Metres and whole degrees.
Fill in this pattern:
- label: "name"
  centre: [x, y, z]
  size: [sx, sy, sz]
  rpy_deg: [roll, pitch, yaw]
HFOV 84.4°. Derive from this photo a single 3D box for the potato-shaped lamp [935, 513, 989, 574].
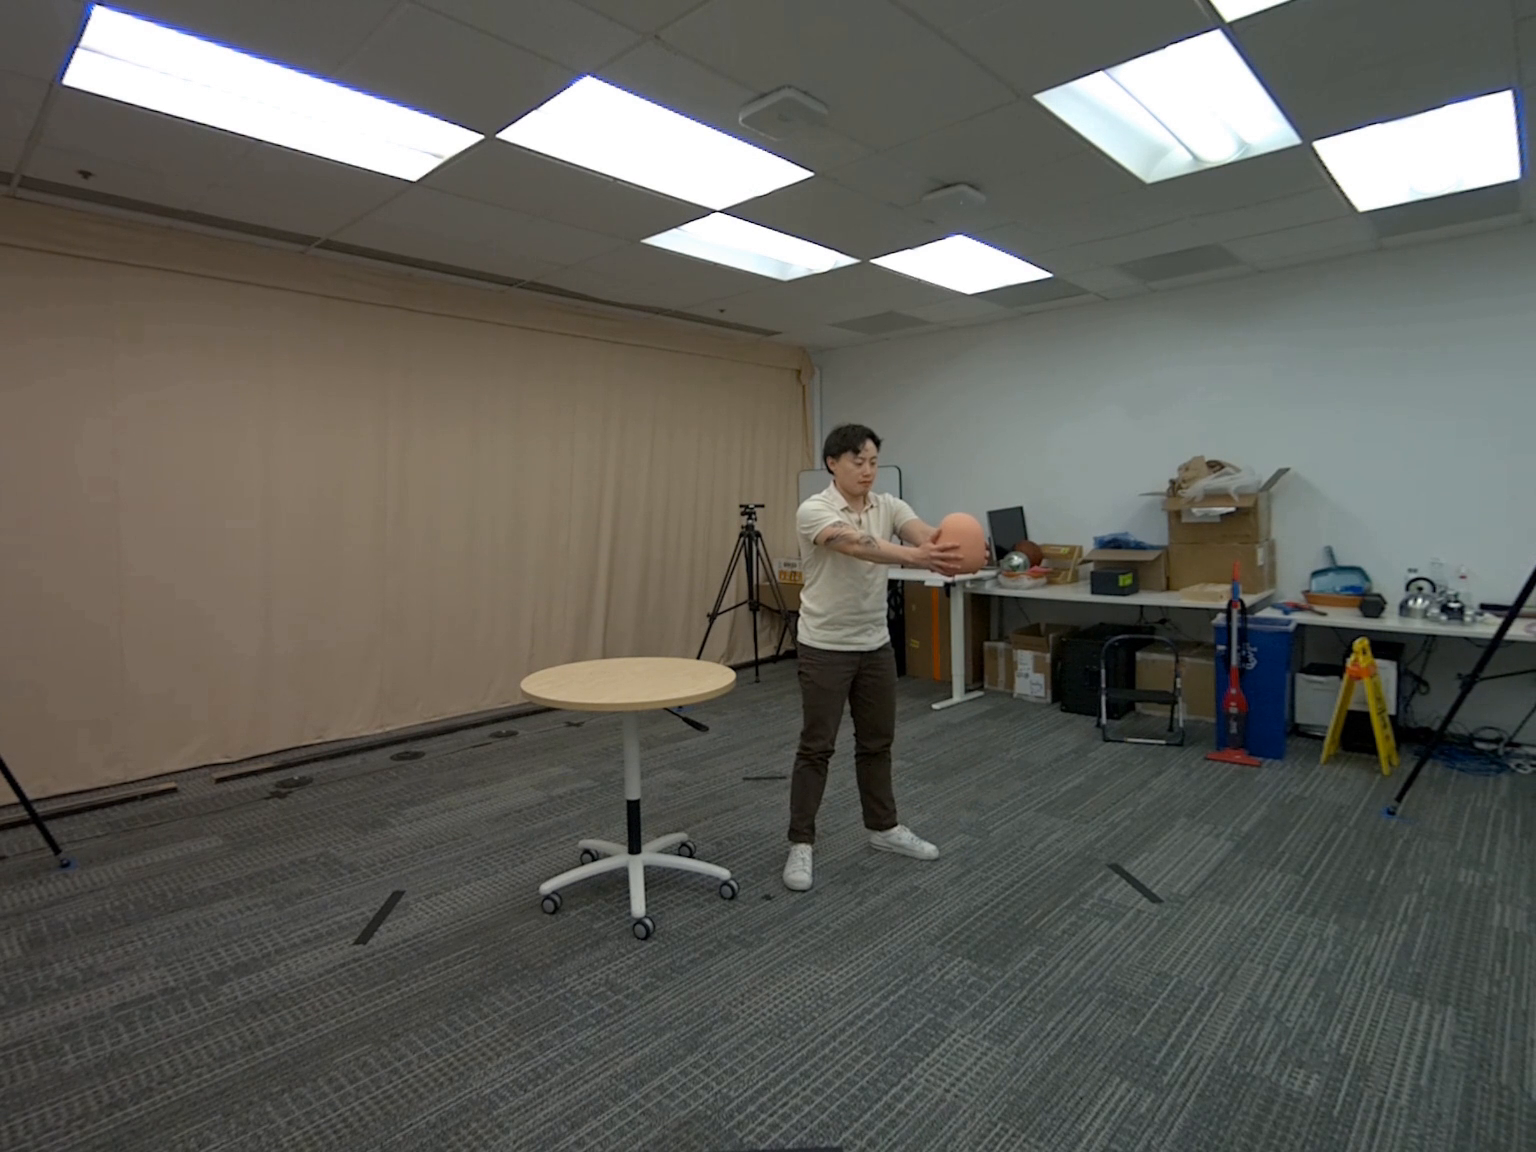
- label: "potato-shaped lamp"
  centre: [0.606, -0.103, 2.705]
  size: [0.161, 0.196, 0.176]
  rpy_deg: [-12, 13, -26]
